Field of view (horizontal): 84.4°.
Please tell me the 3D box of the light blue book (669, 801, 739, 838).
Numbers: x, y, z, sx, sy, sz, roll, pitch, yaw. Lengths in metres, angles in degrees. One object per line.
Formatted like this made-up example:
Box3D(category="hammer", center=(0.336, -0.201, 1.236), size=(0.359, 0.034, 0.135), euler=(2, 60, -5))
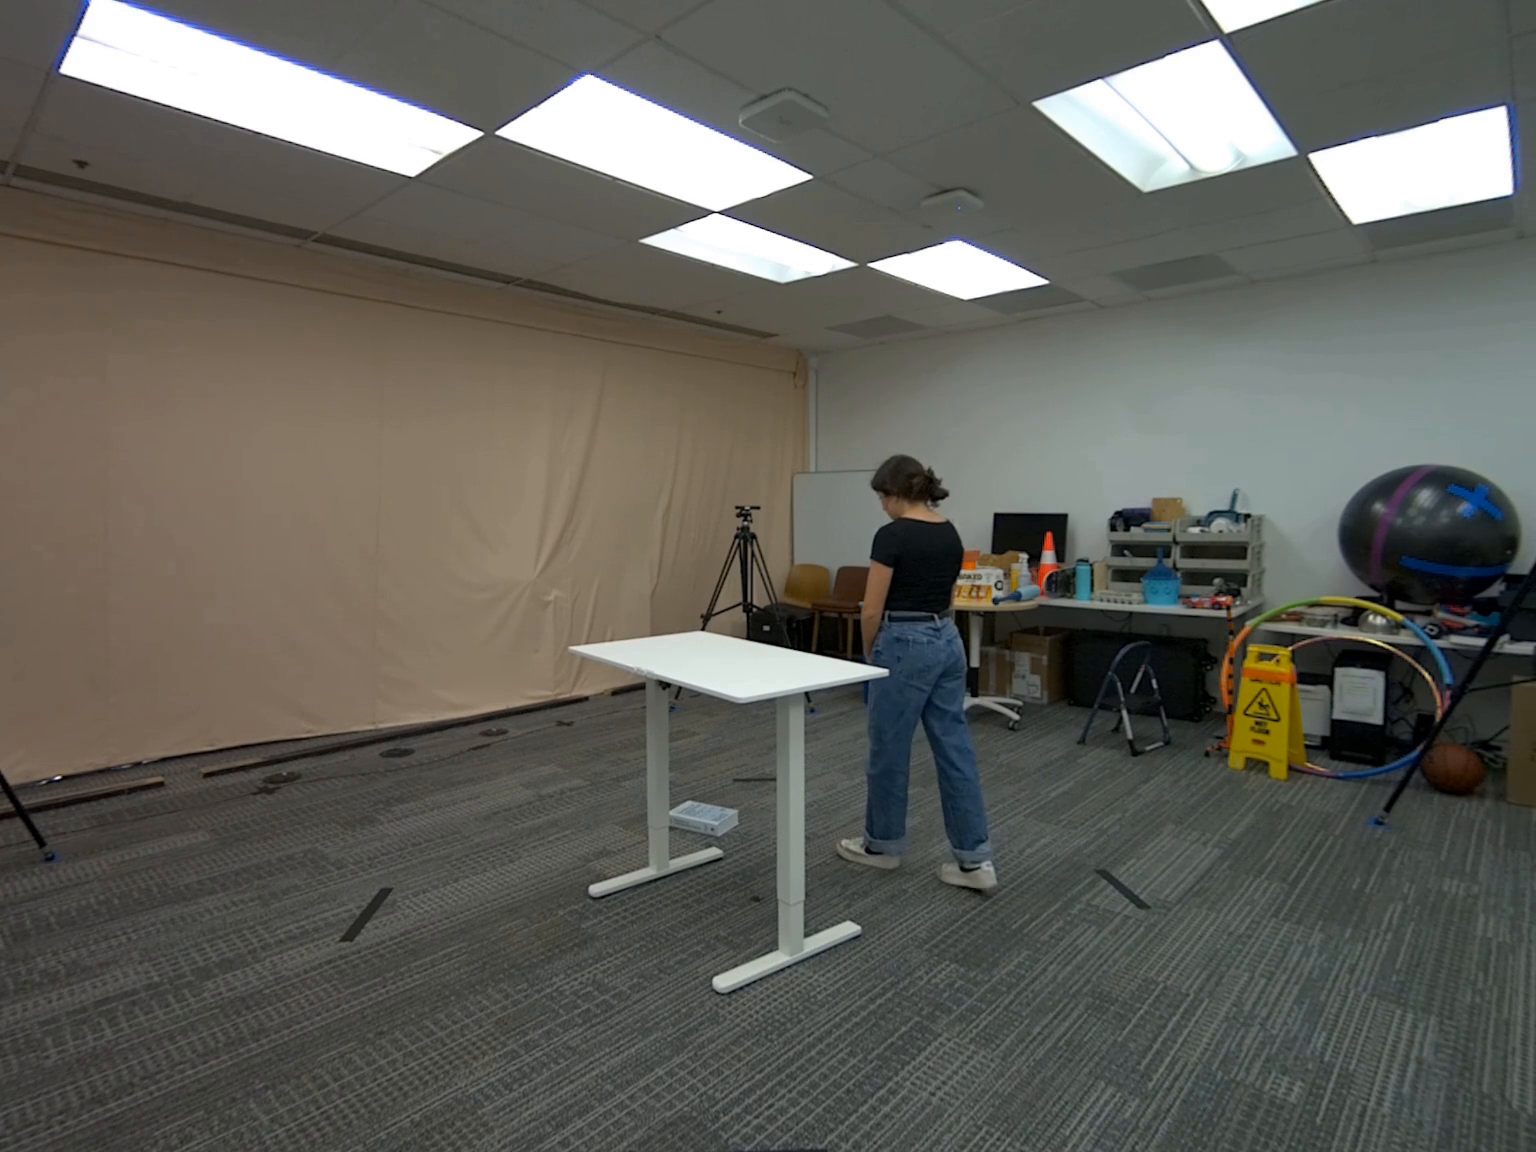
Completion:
Box3D(category="light blue book", center=(-0.284, 1.058, 3.681), size=(0.268, 0.059, 0.186), euler=(2, 4, 29))
